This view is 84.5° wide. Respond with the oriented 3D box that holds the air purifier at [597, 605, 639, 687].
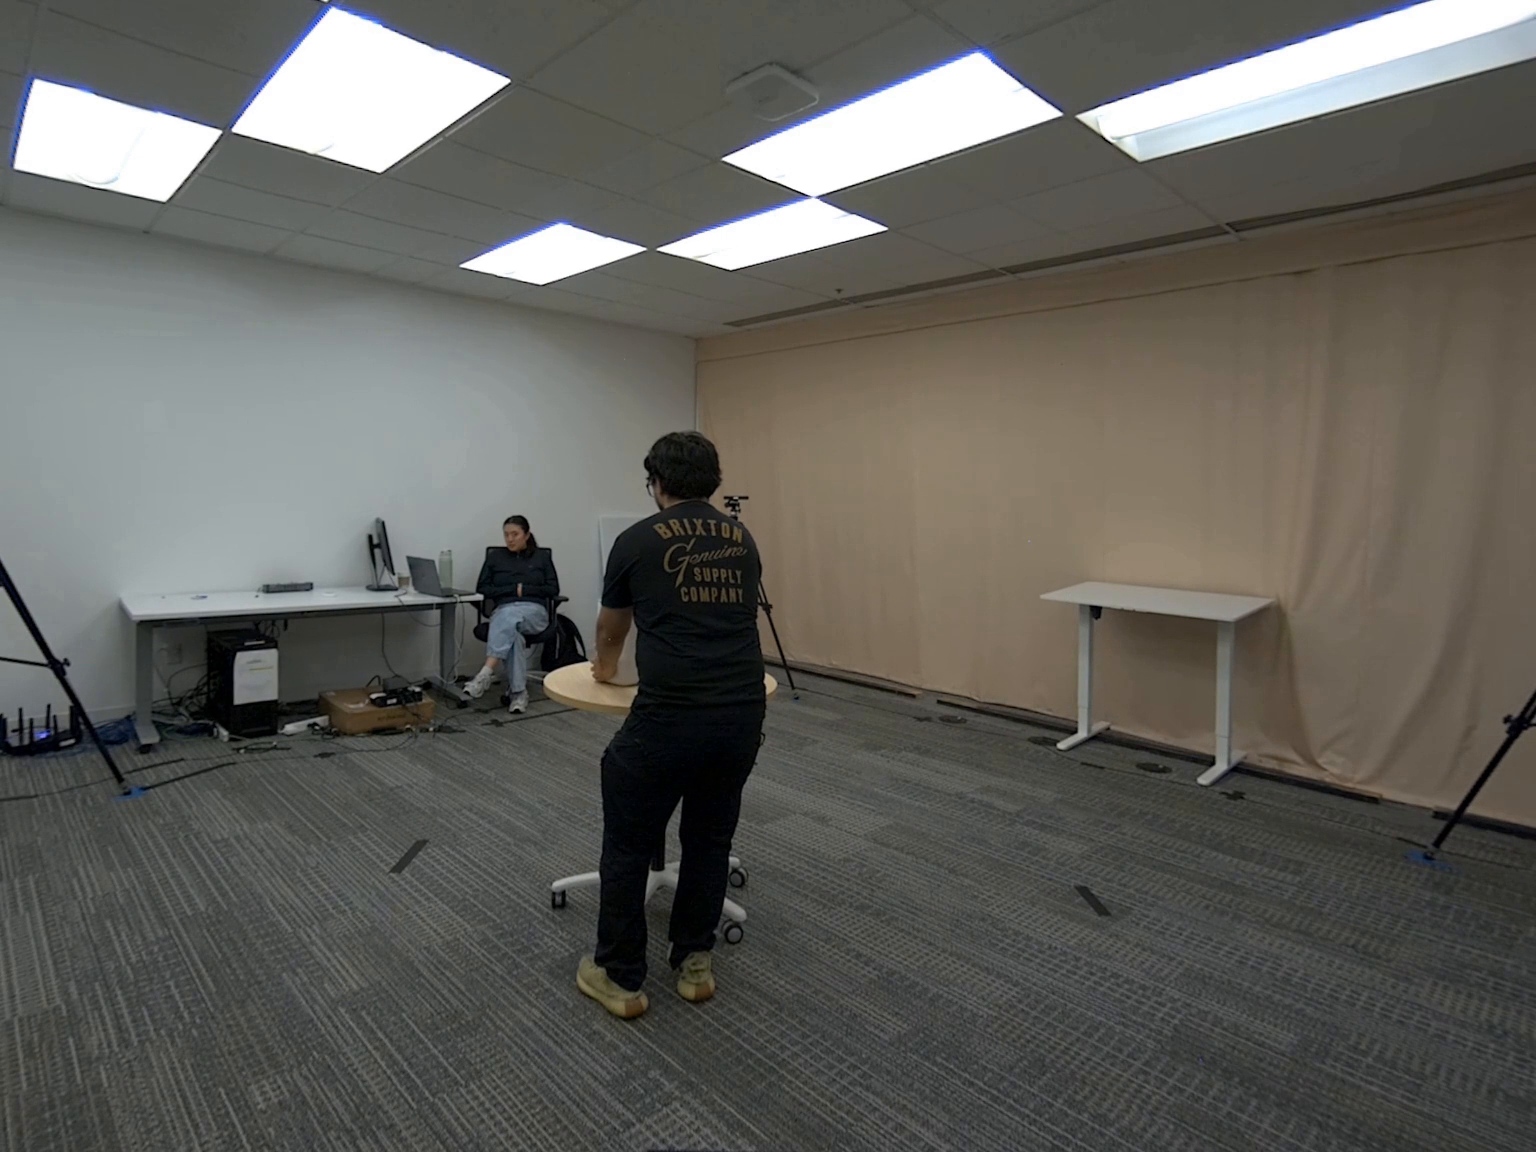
[{"bbox_3d":[-0.456,0.214,2.741,0.176,0.265,0.167,4,4,39],"label":"air purifier"}]
